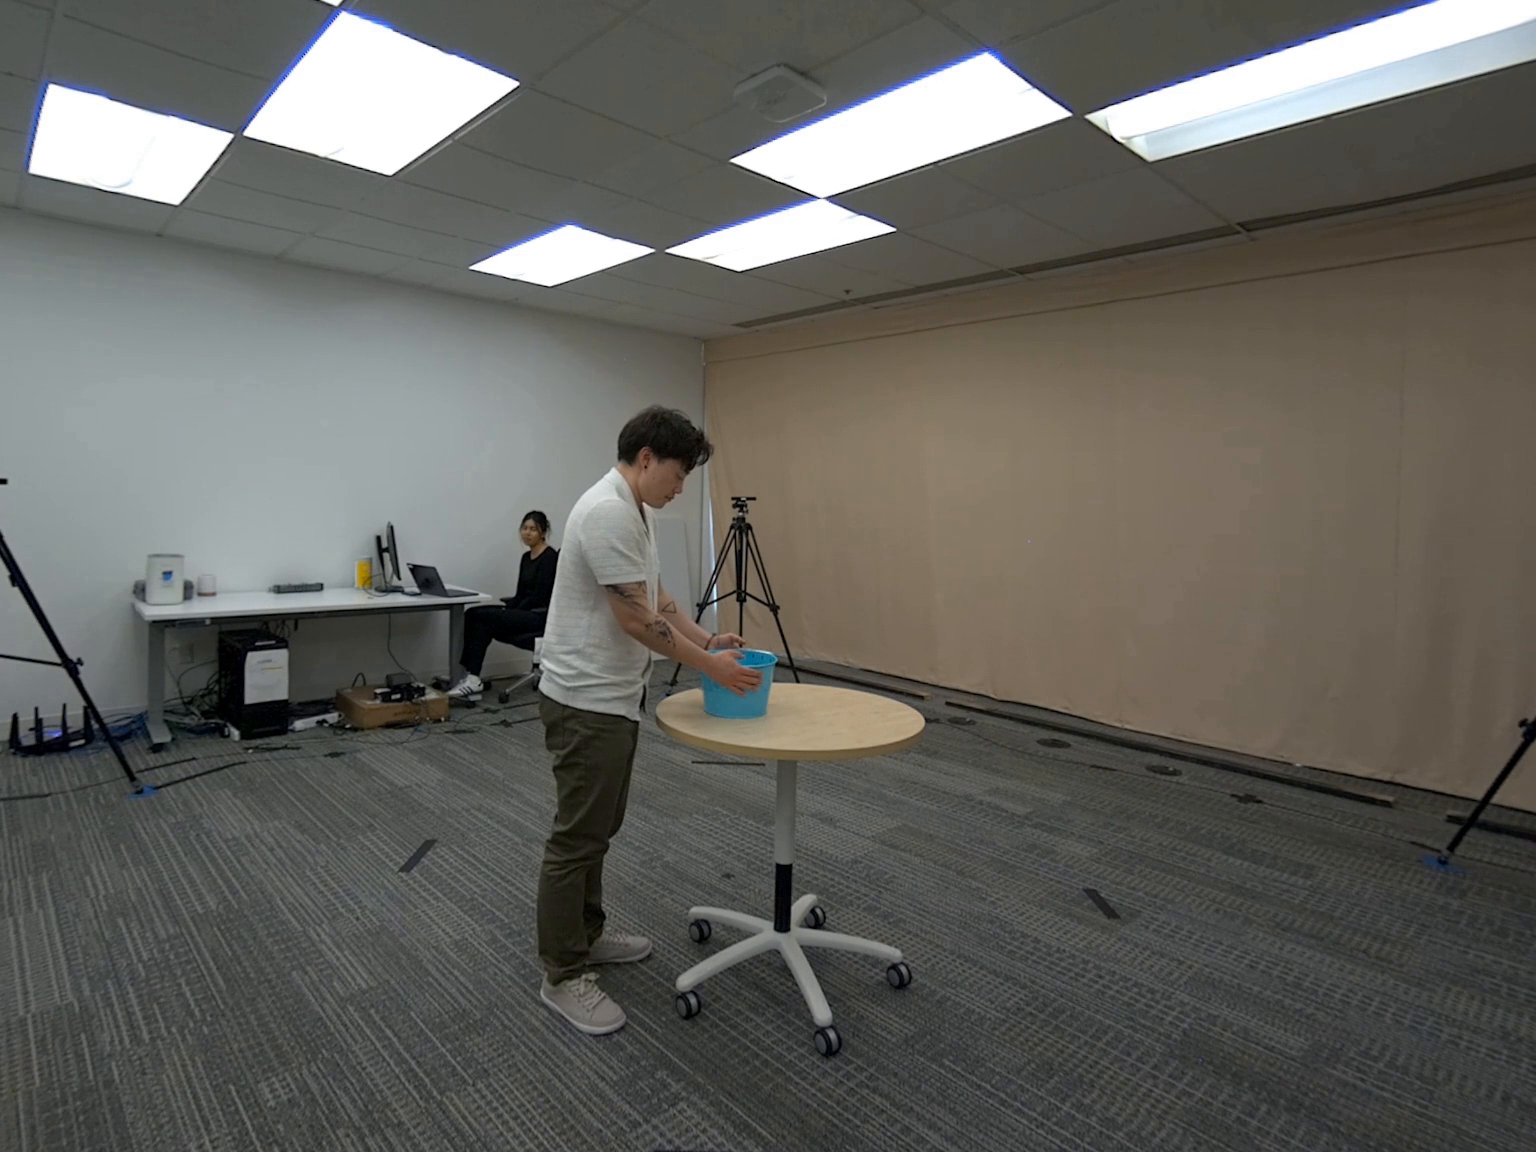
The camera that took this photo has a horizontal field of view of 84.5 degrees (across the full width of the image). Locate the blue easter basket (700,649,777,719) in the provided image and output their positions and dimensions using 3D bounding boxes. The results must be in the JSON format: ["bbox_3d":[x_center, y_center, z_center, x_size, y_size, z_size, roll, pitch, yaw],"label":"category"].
[{"bbox_3d":[-0.104,0.311,2.411,0.243,0.155,0.245,2,6,-2],"label":"blue easter basket"}]
